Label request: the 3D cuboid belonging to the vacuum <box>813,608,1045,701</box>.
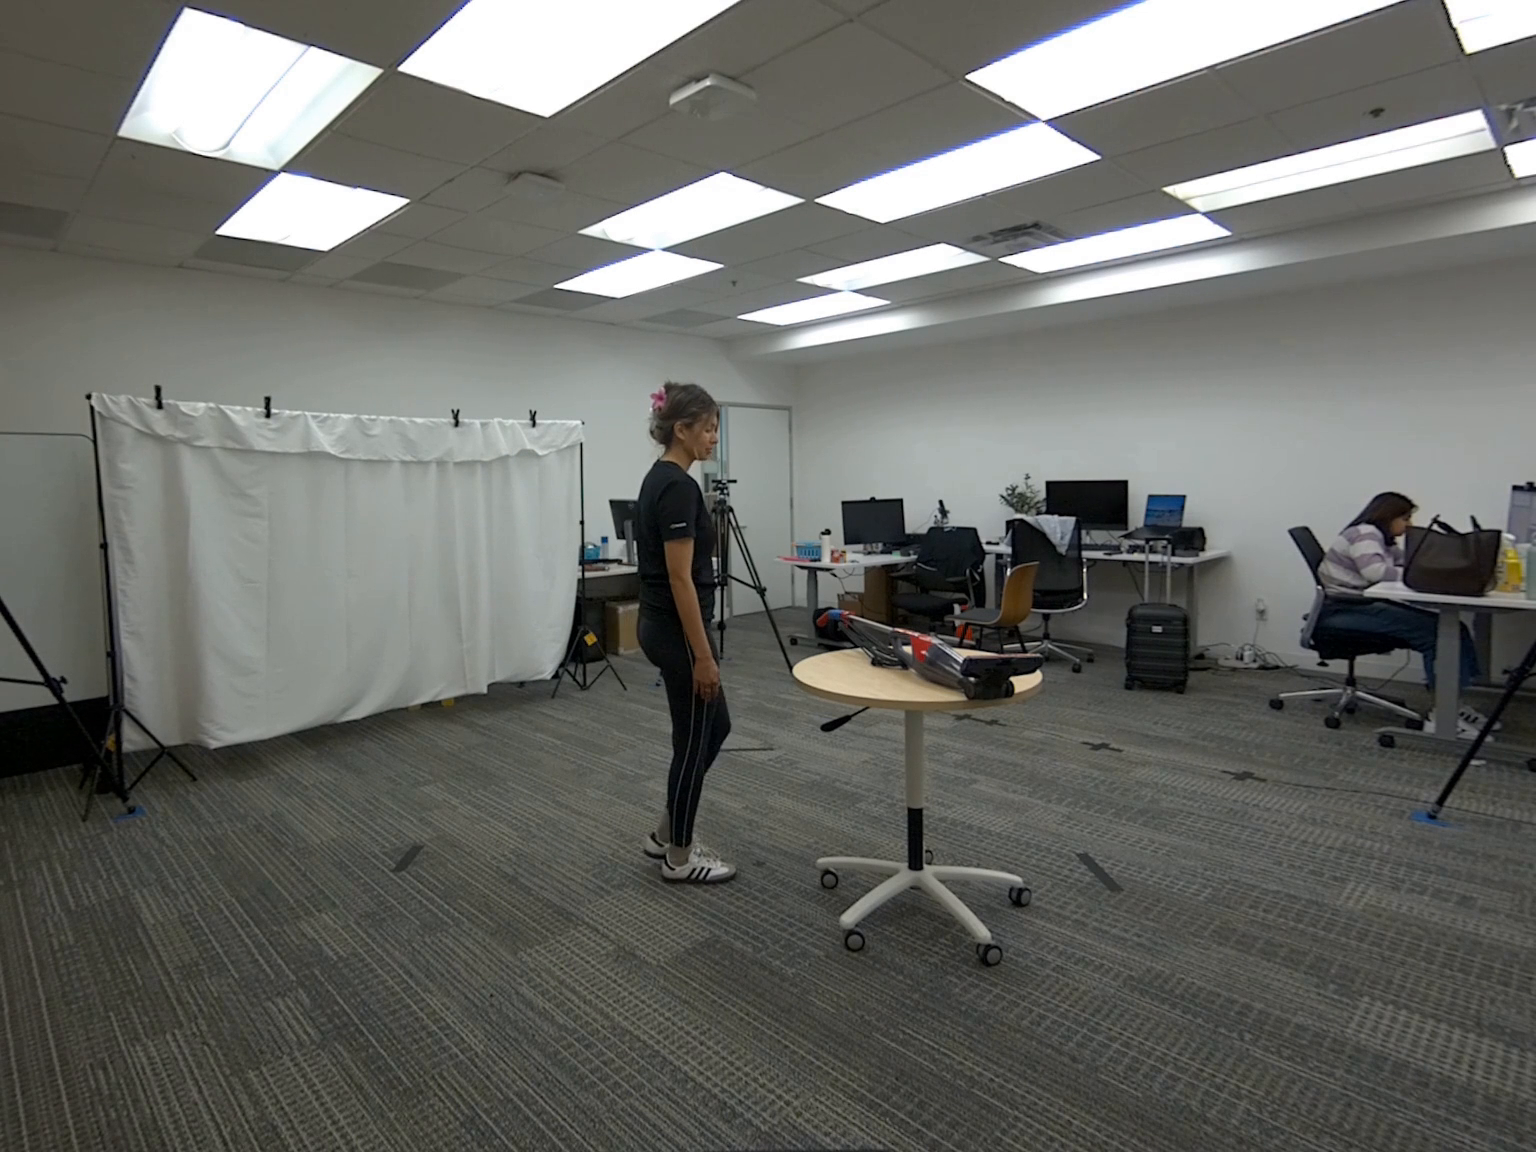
[{"bbox_3d":[0.418,0.244,2.782,0.247,0.144,1.073,2,4,-23],"label":"vacuum"}]
